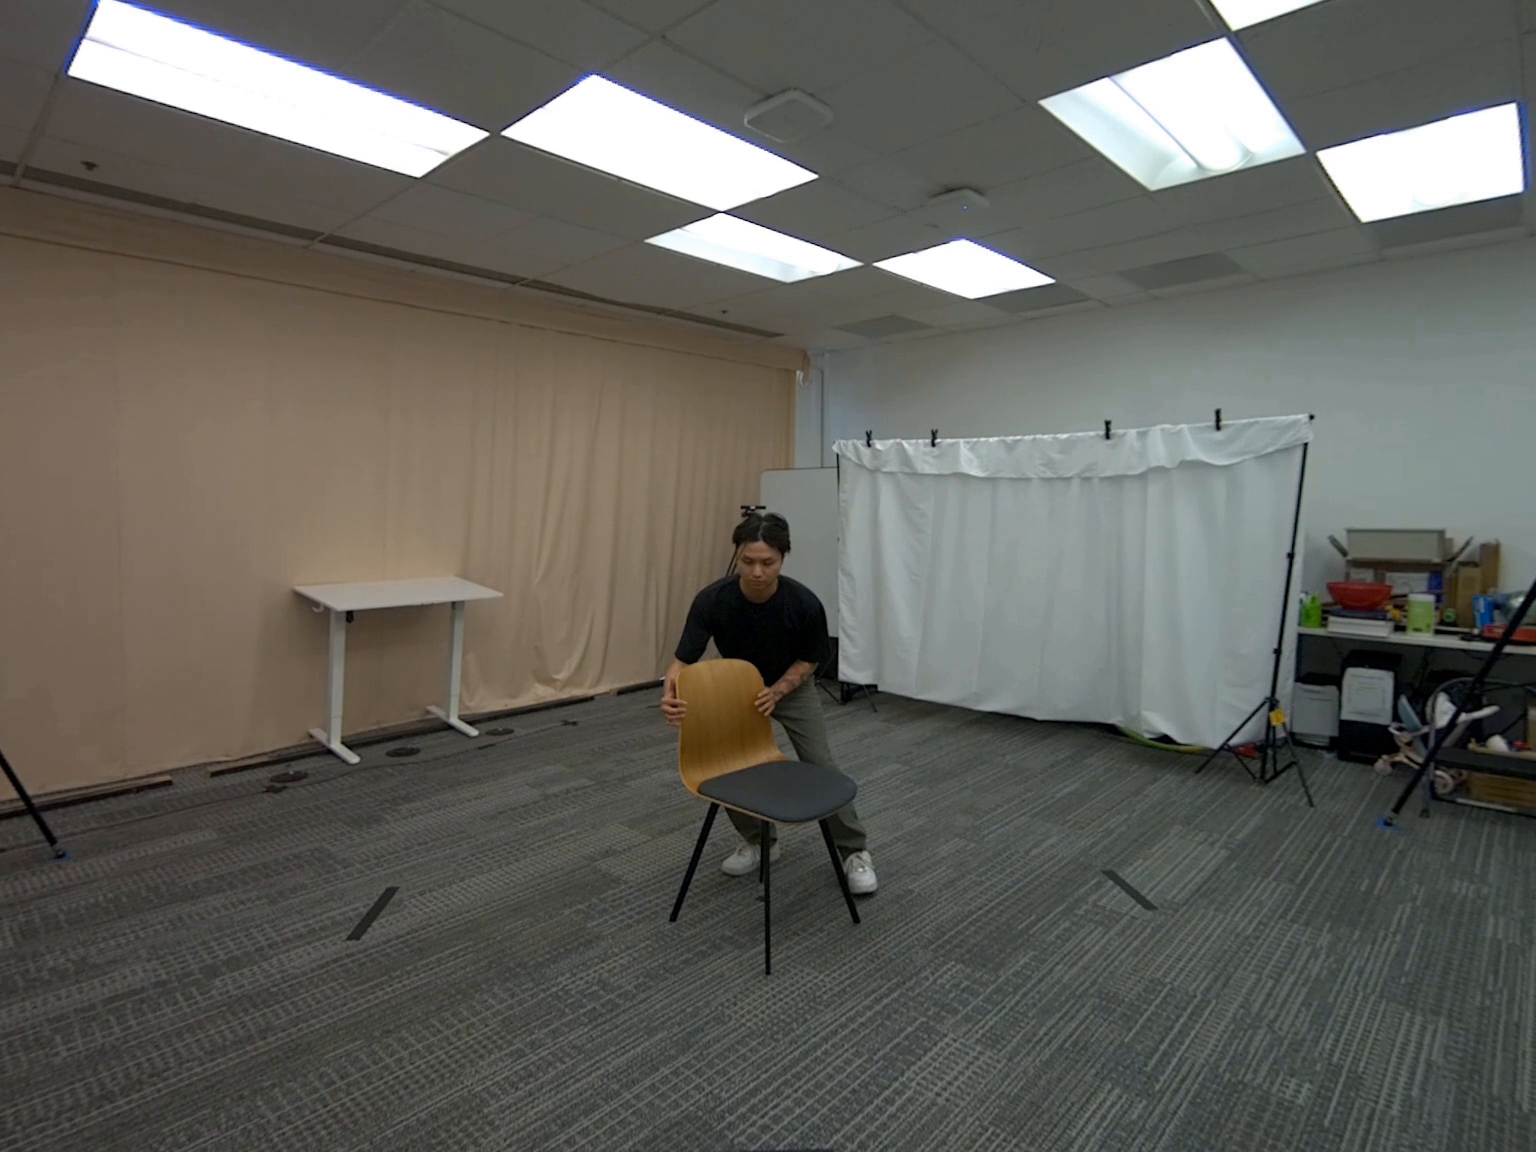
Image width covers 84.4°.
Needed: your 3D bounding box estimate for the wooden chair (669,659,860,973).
[{"bbox_3d":[-0.008,0.729,2.775,0.539,0.877,0.463,-3,0,45],"label":"wooden chair"}]
